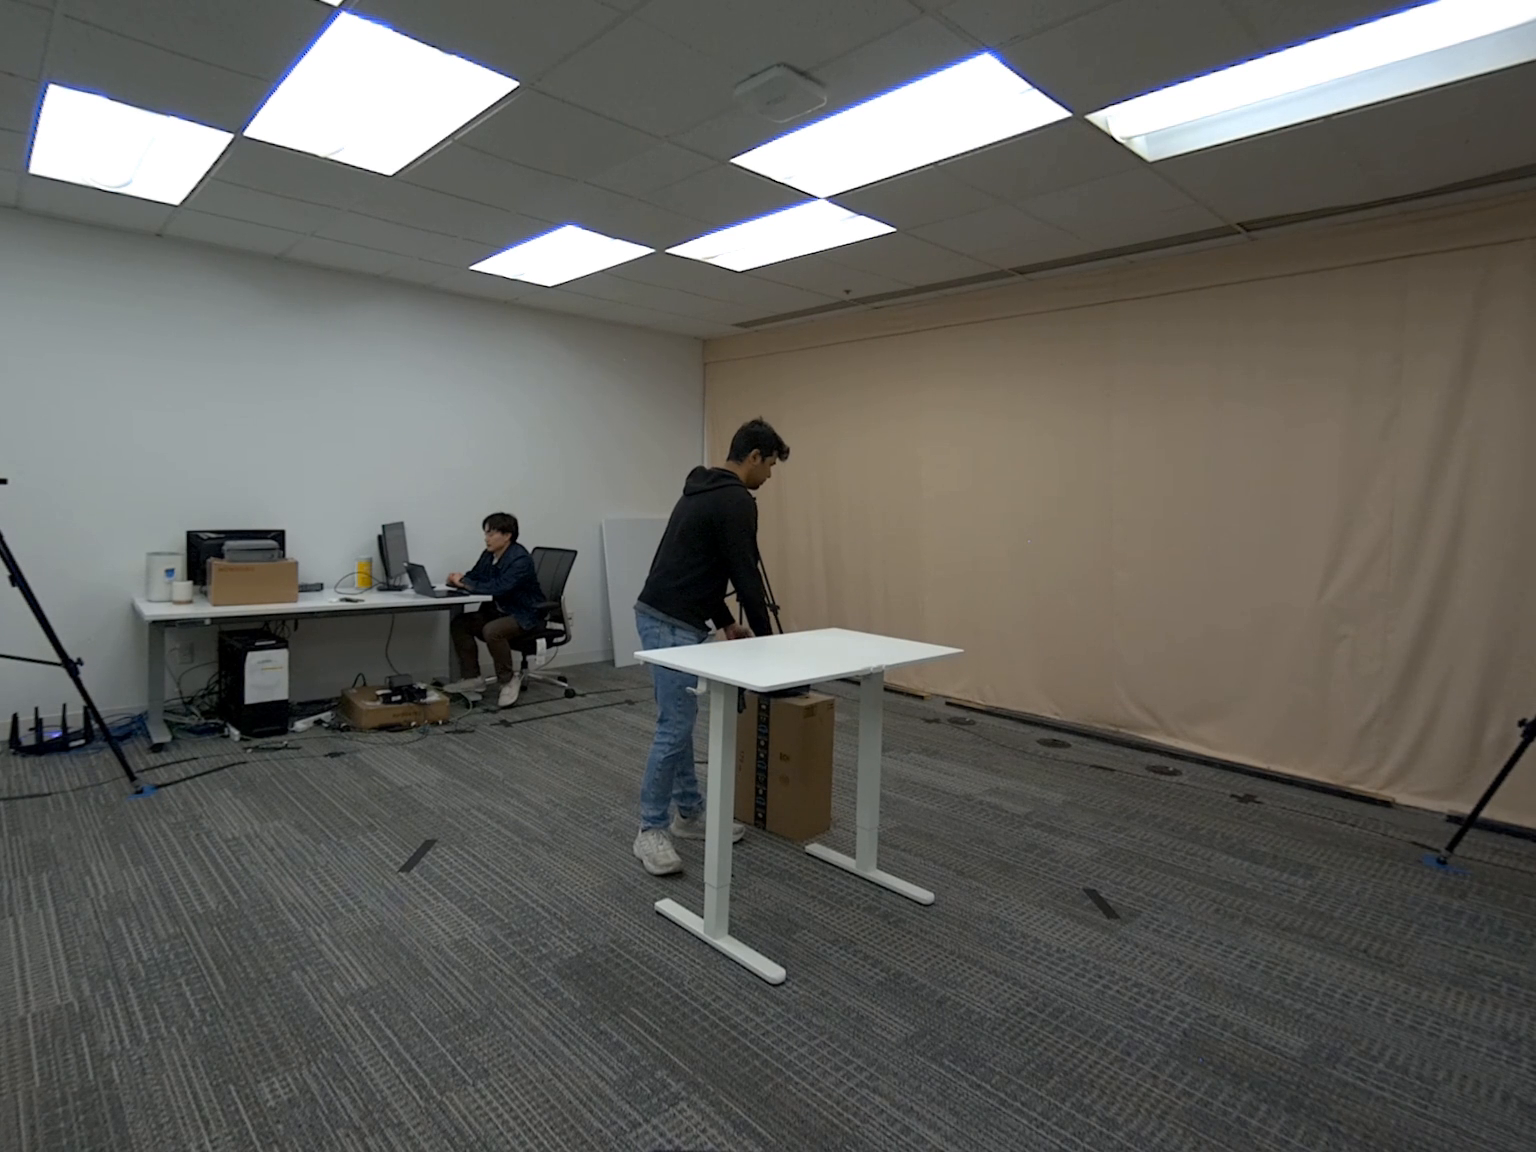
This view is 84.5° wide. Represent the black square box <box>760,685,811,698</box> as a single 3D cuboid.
[{"bbox_3d":[0.038,0.392,3.624,0.211,0.156,0.234,8,-1,-41],"label":"black square box"}]
